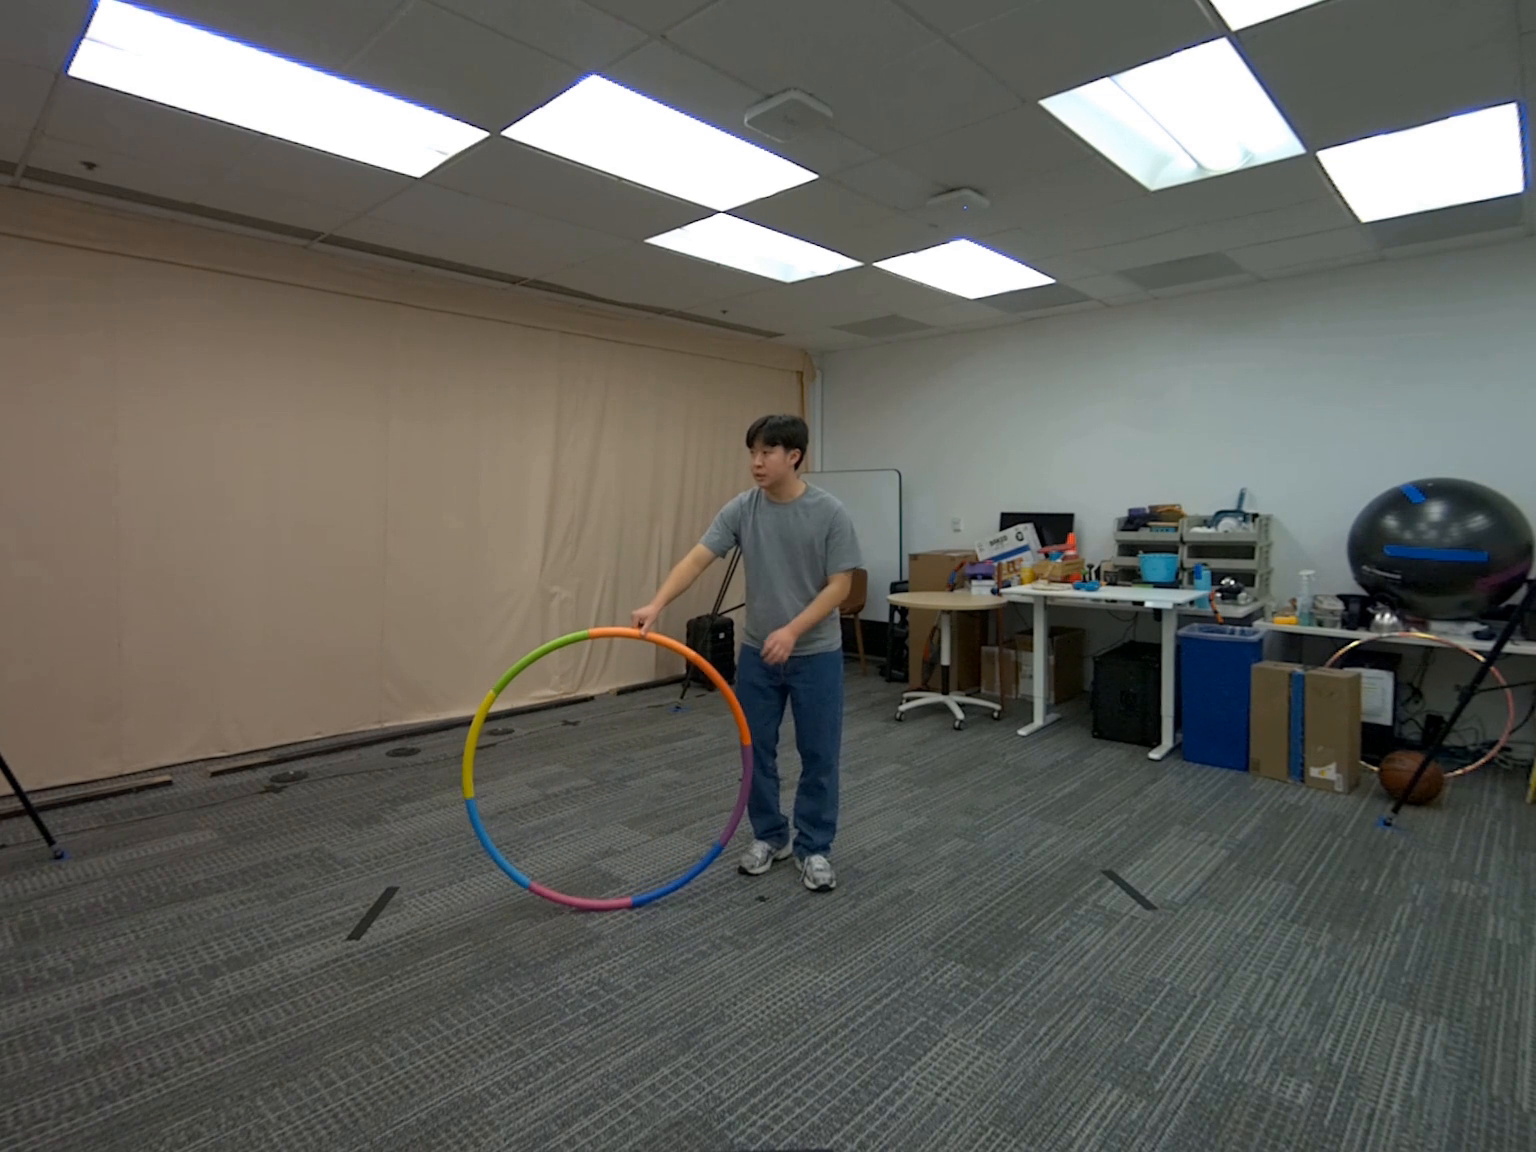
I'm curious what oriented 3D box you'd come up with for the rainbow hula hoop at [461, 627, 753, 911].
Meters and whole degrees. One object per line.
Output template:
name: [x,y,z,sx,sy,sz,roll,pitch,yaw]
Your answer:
rainbow hula hoop: [-0.541,0.665,2.902,0.970,0.977,0.036,-1,2,-8]
